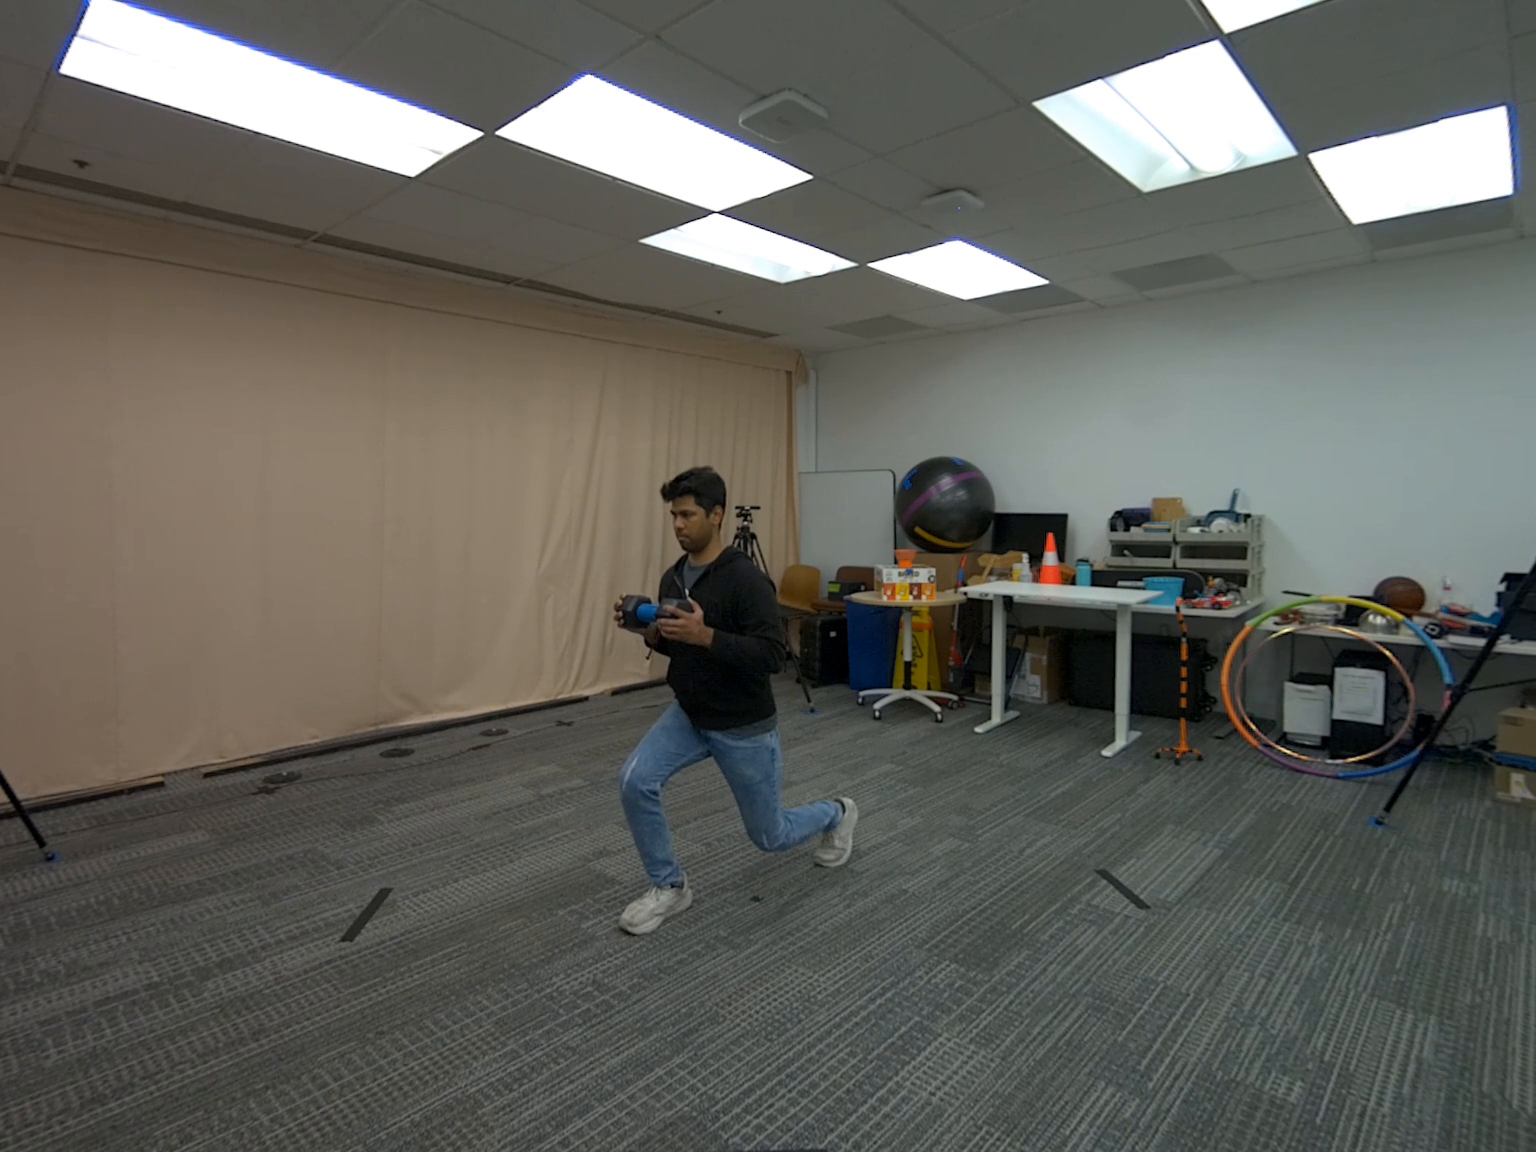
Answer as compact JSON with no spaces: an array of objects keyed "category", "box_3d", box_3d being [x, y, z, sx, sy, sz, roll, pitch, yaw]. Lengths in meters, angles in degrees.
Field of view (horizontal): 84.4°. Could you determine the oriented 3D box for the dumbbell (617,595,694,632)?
[{"category":"dumbbell","box_3d":[-0.366,0.126,2.793,0.107,0.121,0.303,-32,19,-34]}]
